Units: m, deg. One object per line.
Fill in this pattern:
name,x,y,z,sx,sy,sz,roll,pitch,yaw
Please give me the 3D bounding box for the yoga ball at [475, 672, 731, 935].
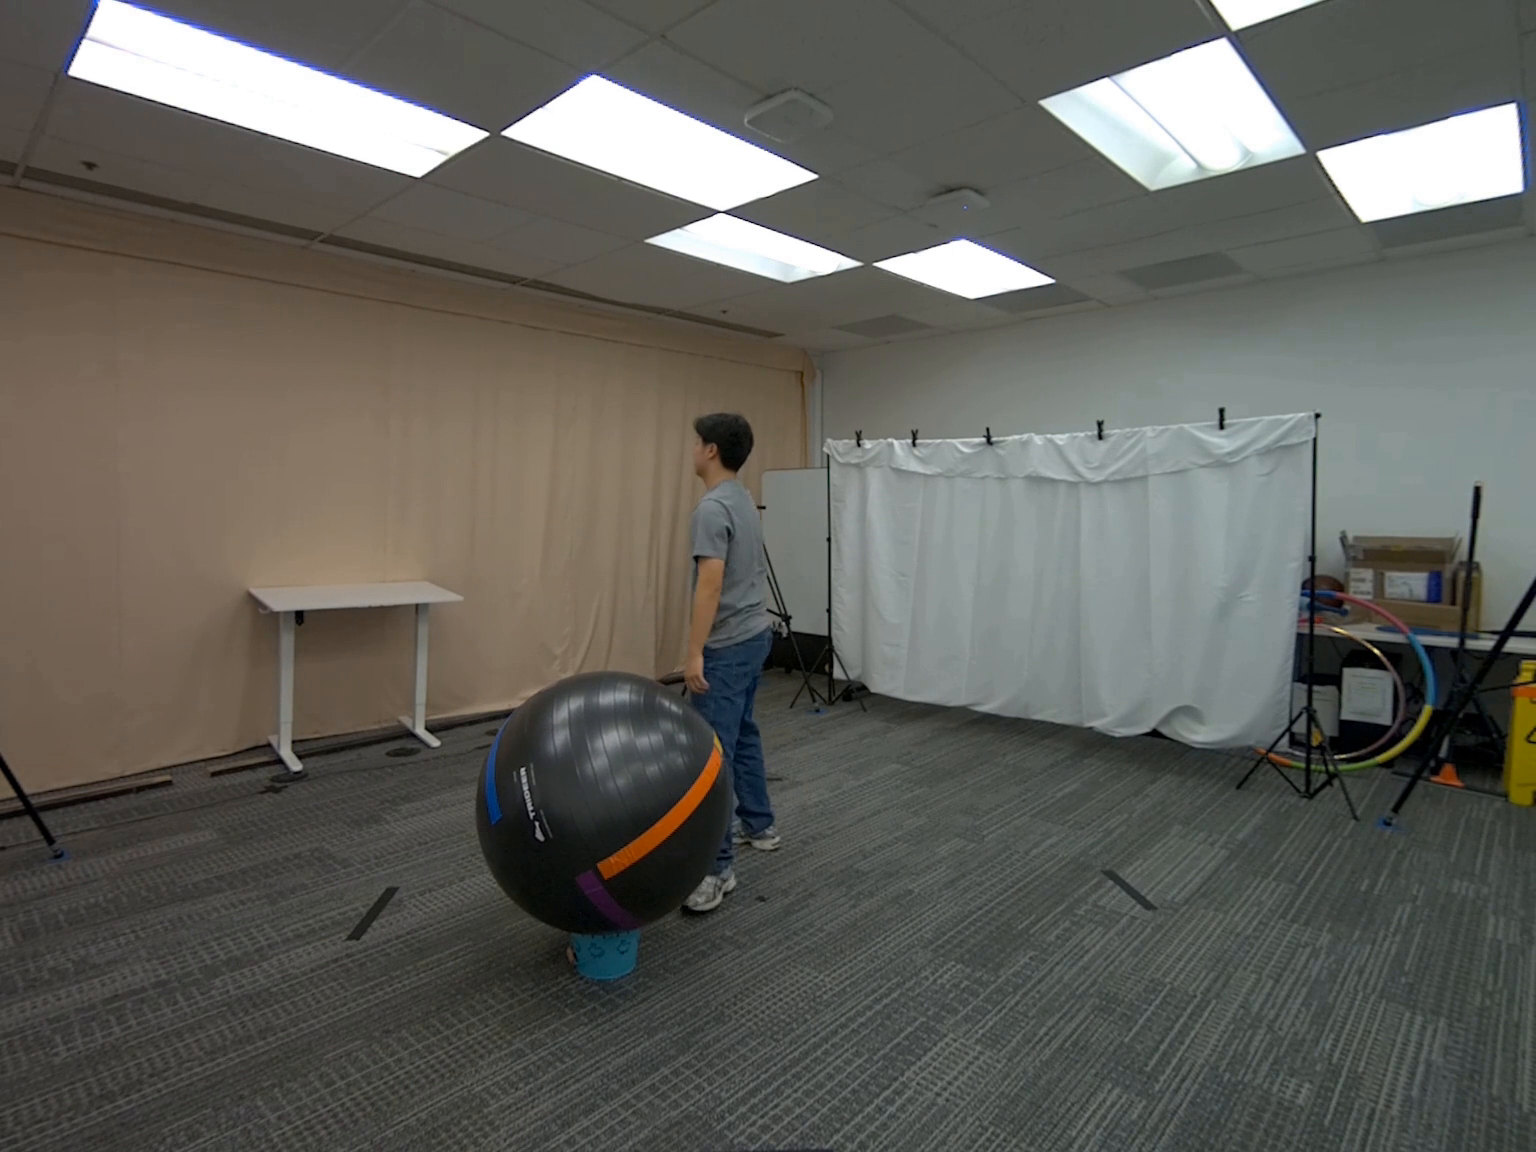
yoga ball,-0.497,0.676,2.546,0.757,0.756,0.760,0,4,-2
